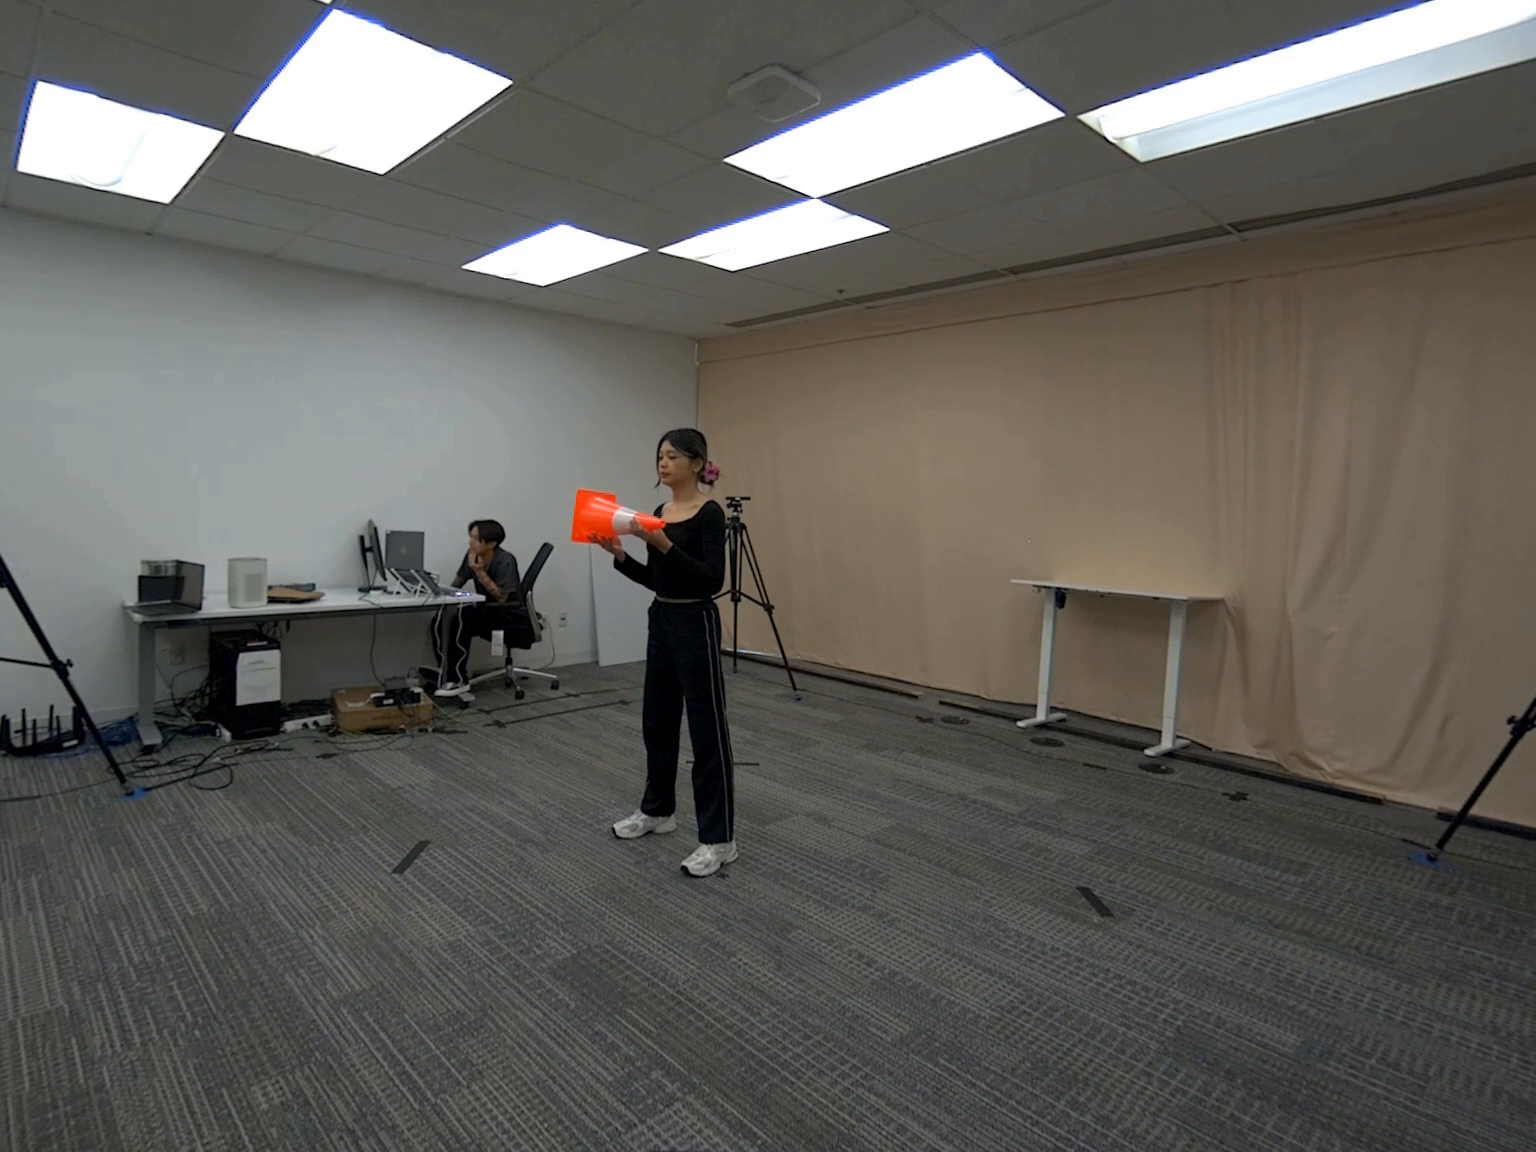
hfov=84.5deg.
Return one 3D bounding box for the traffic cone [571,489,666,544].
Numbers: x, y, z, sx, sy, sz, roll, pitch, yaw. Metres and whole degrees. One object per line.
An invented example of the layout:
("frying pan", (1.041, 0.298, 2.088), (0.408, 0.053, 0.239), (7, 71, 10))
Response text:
("traffic cone", (-0.523, -0.201, 3.060), (0.394, 0.205, 0.198), (7, 0, 40))
